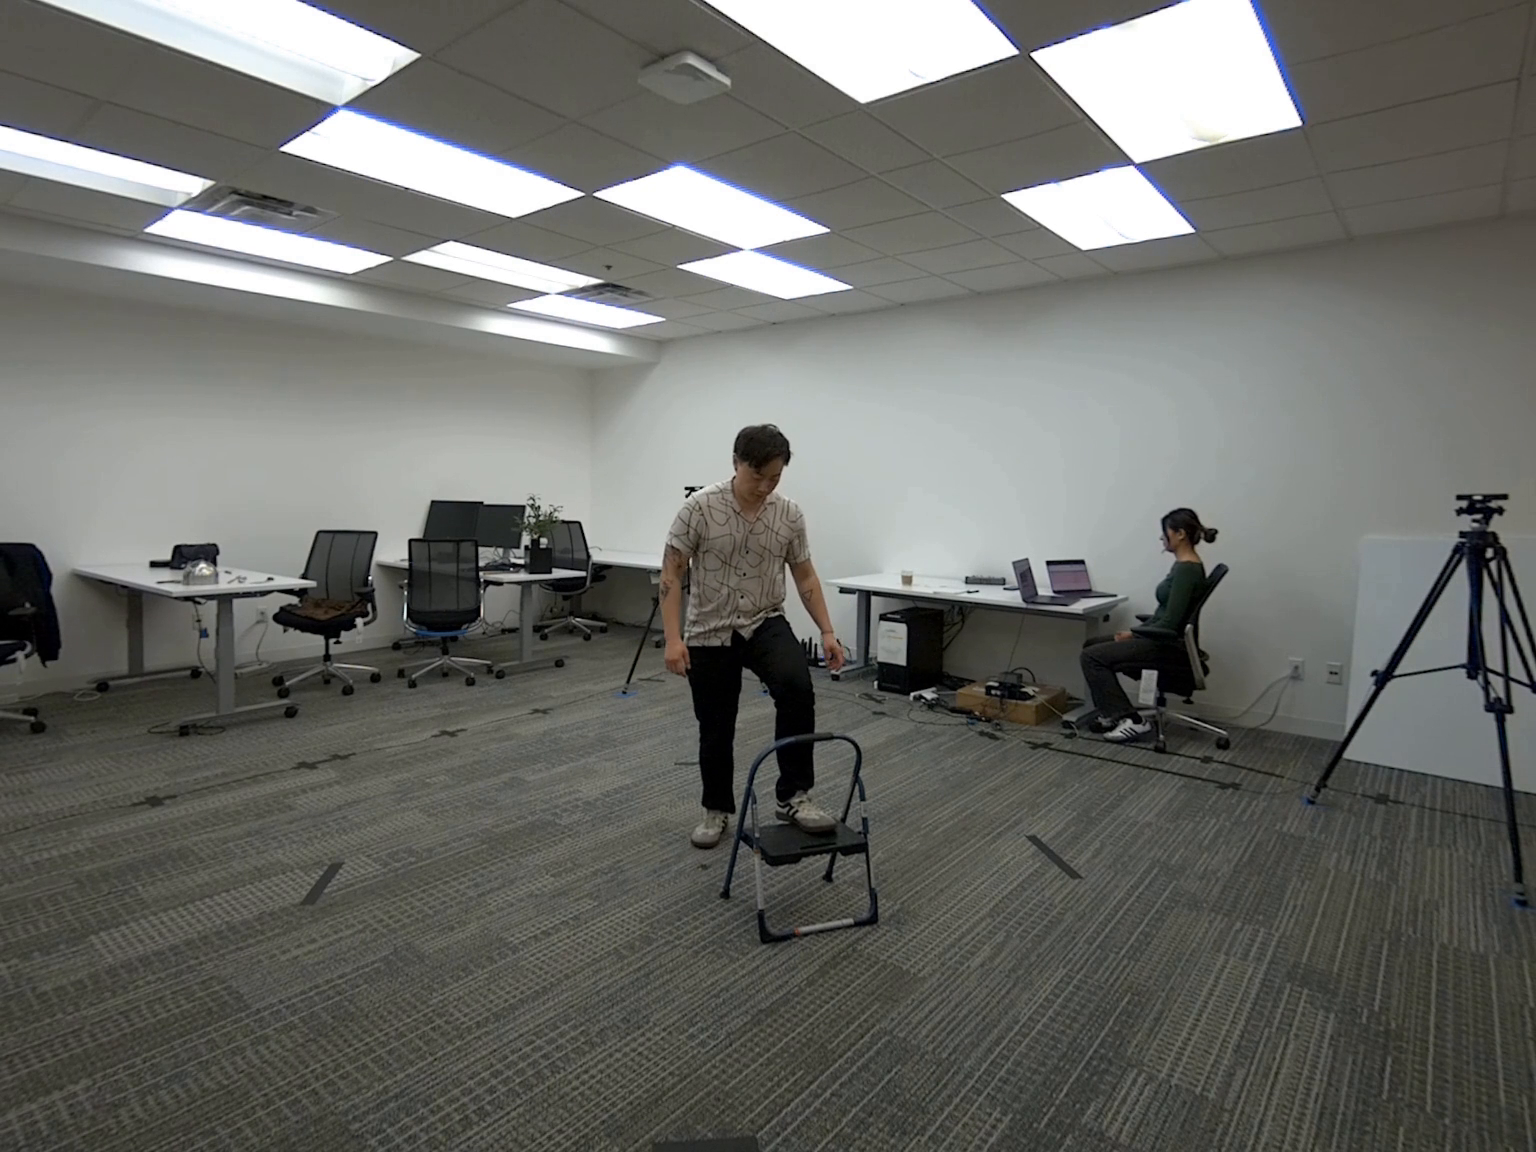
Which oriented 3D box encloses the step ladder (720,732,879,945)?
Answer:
[{"bbox_3d":[0.099,0.797,2.804,0.421,0.604,0.358,-1,4,-24],"label":"step ladder"}]
